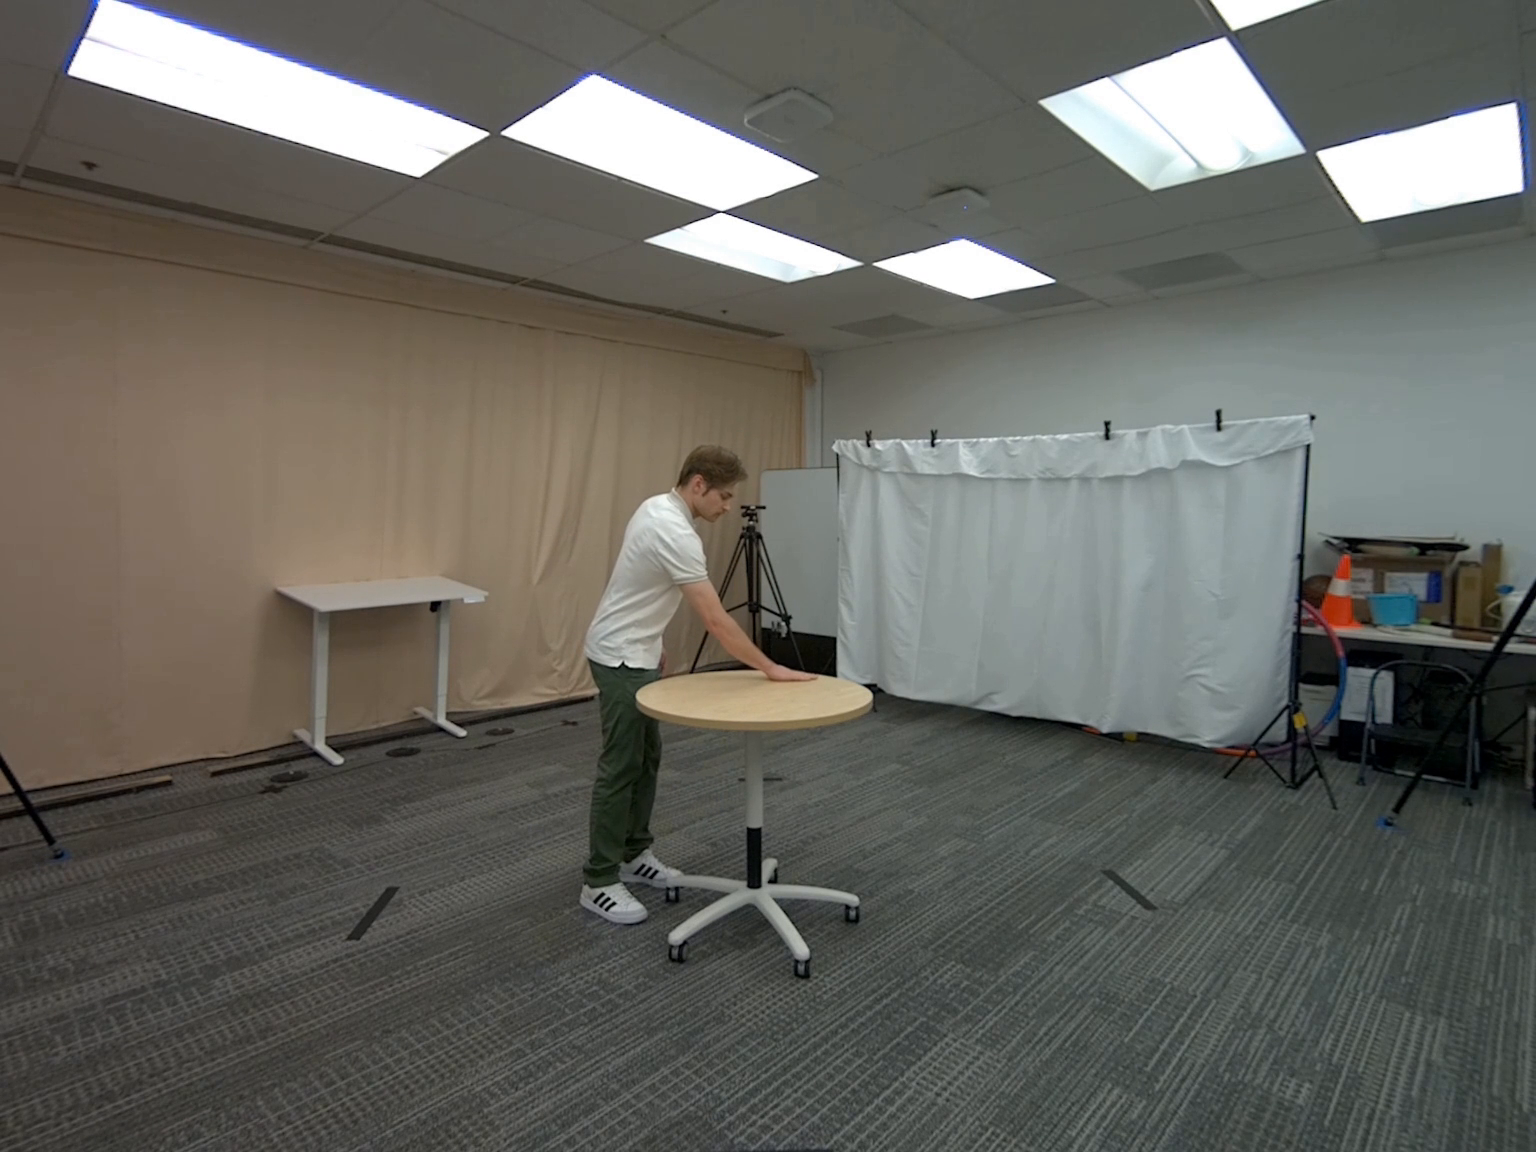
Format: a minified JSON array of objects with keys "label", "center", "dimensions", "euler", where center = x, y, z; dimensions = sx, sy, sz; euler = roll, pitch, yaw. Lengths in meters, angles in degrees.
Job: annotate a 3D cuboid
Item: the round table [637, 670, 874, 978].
[{"label":"round table","center":[-0.035,0.770,2.745],"dimensions":[0.784,0.785,0.788],"euler":[-1,3,-2]}]
